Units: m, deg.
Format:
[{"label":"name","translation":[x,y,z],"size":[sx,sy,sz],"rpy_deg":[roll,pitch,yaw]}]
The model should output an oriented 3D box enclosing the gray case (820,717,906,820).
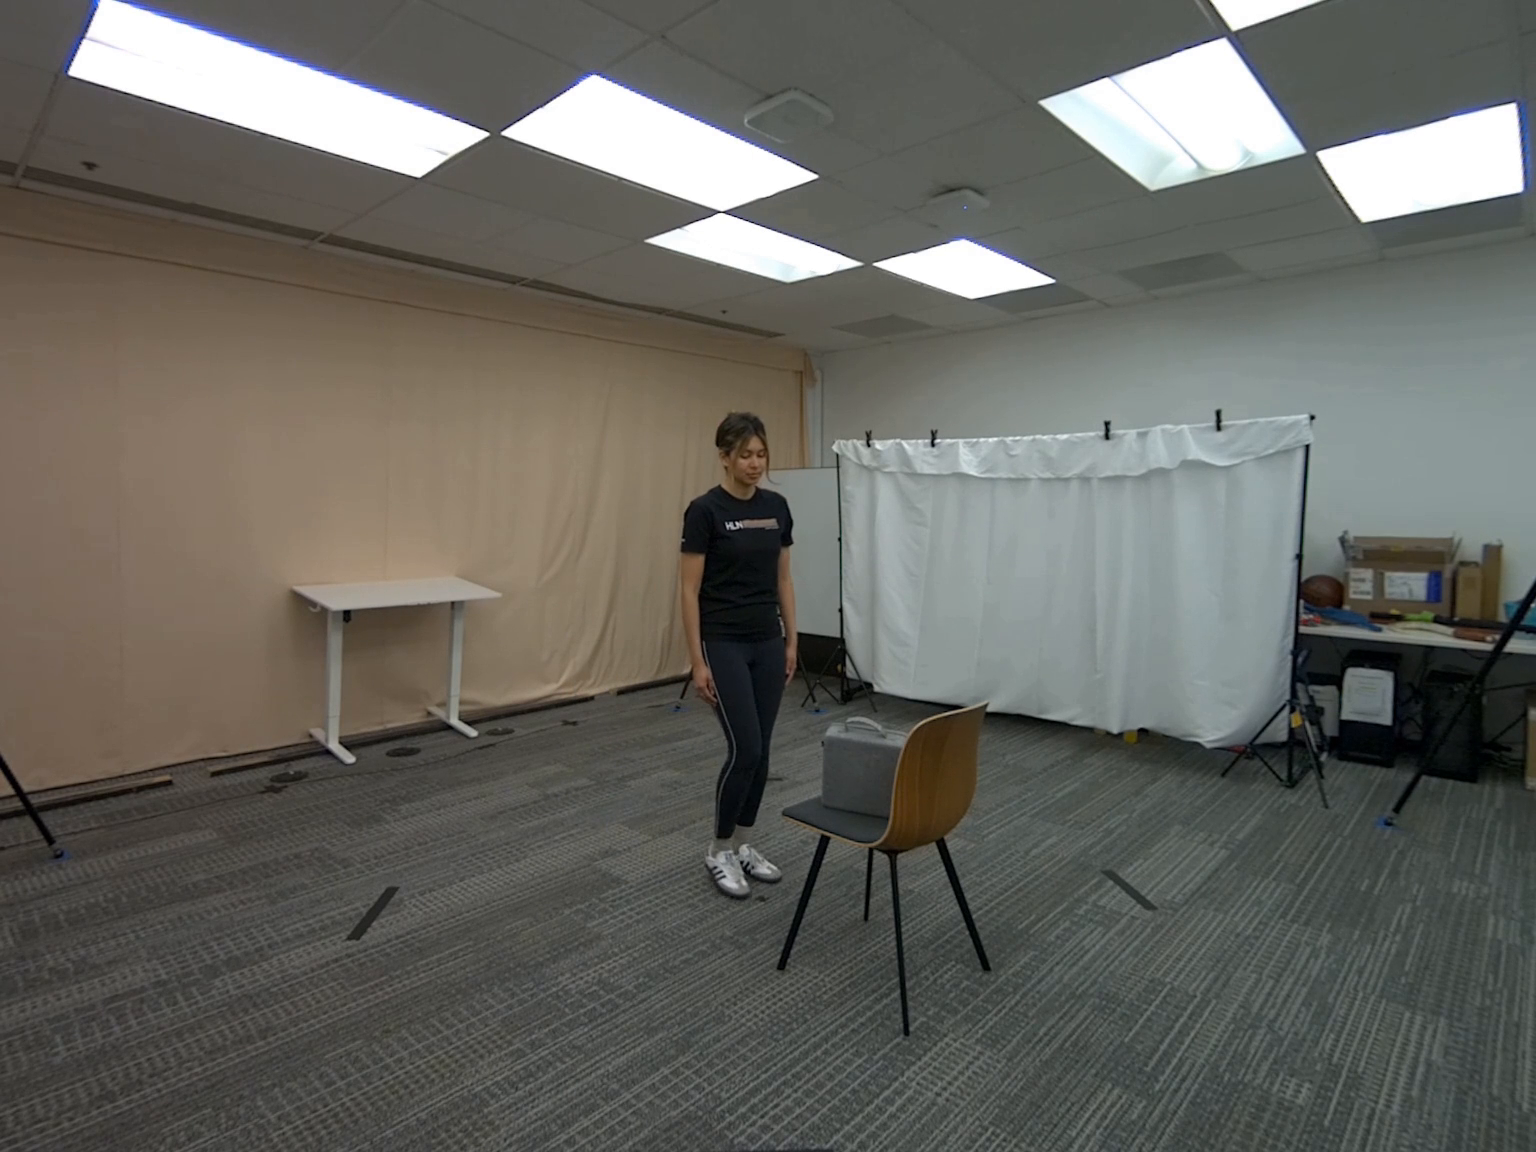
[{"label":"gray case","translation":[0.307,0.578,2.509],"size":[0.262,0.258,0.103],"rpy_deg":[4,13,19]}]
